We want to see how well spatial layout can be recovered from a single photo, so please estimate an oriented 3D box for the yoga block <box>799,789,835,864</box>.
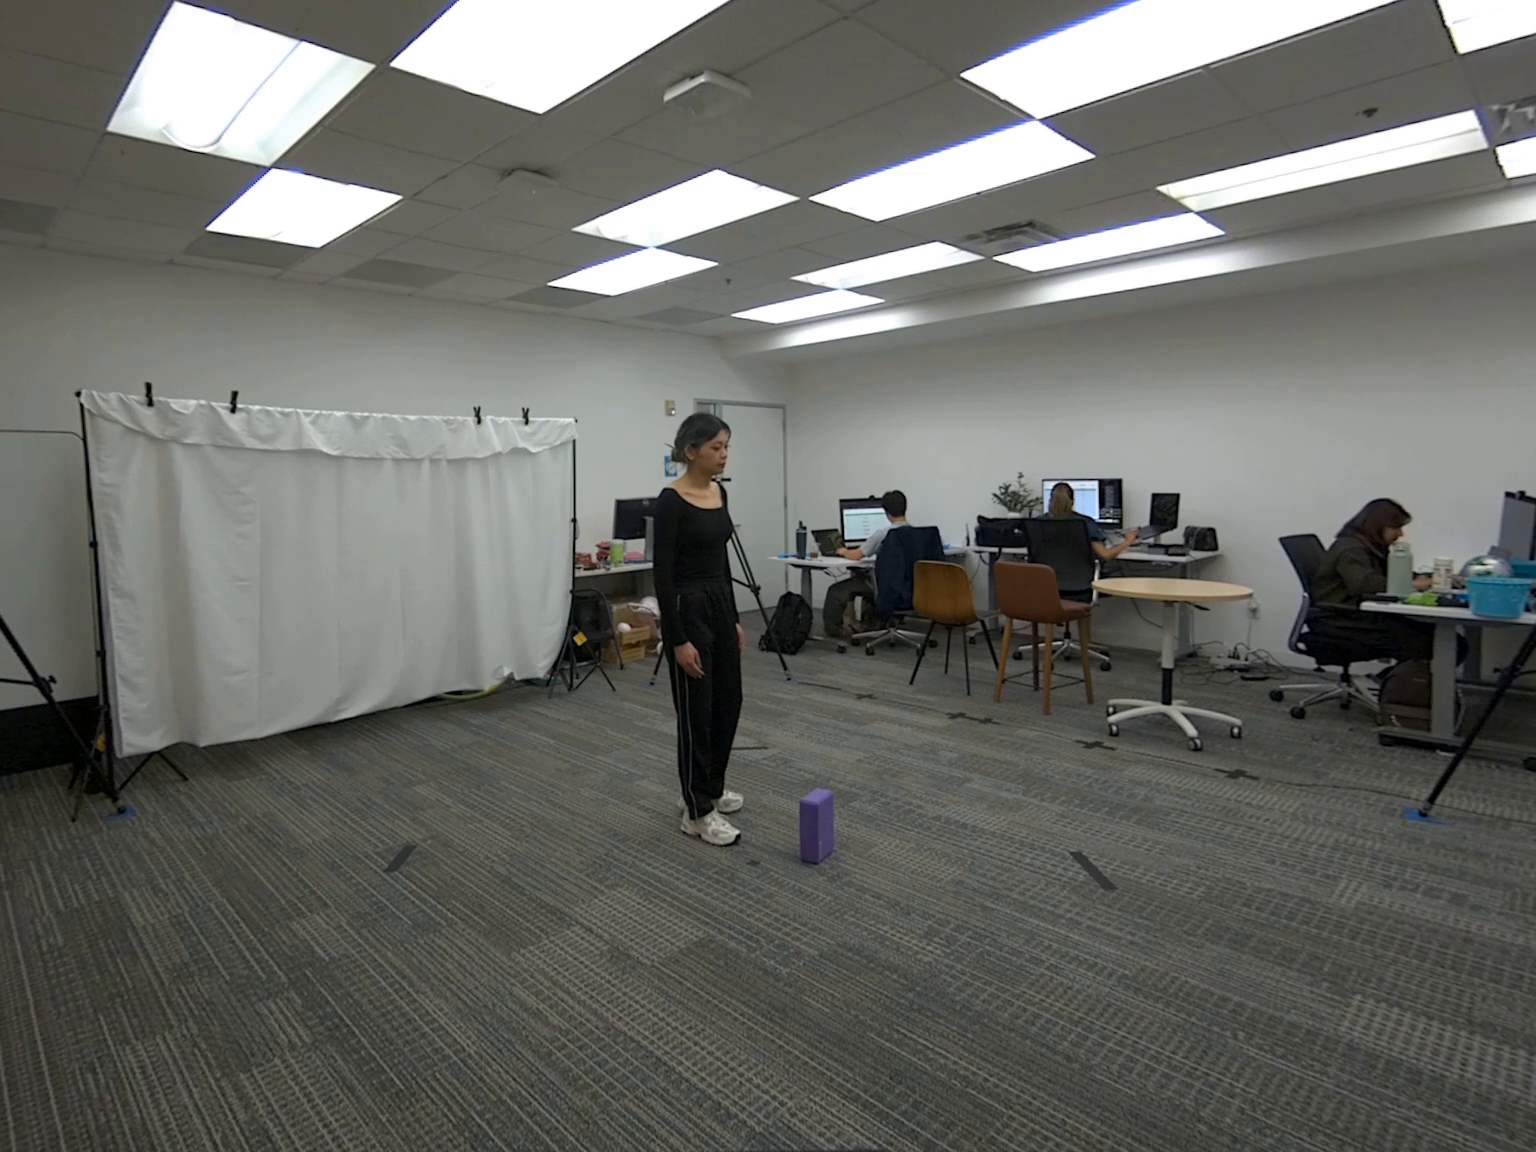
[{"bbox_3d":[0.184,0.918,3.148,0.078,0.229,0.146,2,4,29],"label":"yoga block"}]
